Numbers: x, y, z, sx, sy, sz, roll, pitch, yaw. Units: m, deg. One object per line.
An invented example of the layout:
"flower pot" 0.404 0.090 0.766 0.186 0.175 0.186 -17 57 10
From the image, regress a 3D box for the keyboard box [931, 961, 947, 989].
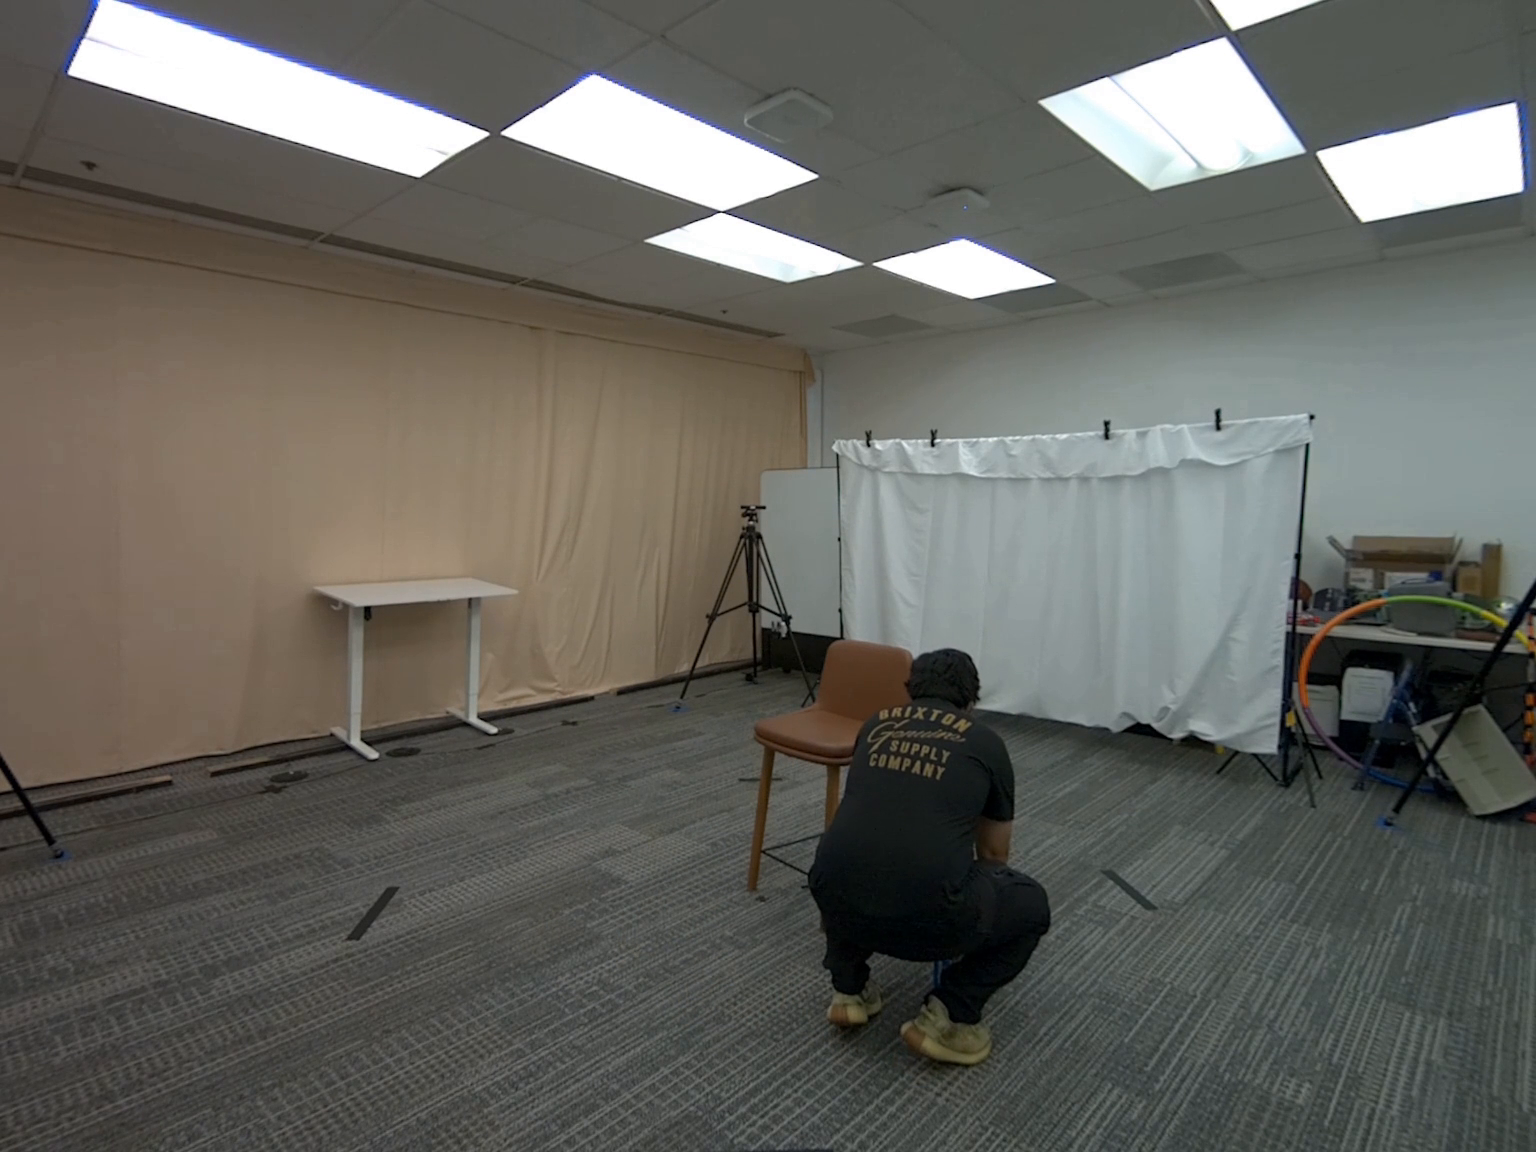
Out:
"keyboard box" 0.629 1.094 2.585 0.061 0.175 0.425 1 5 33
